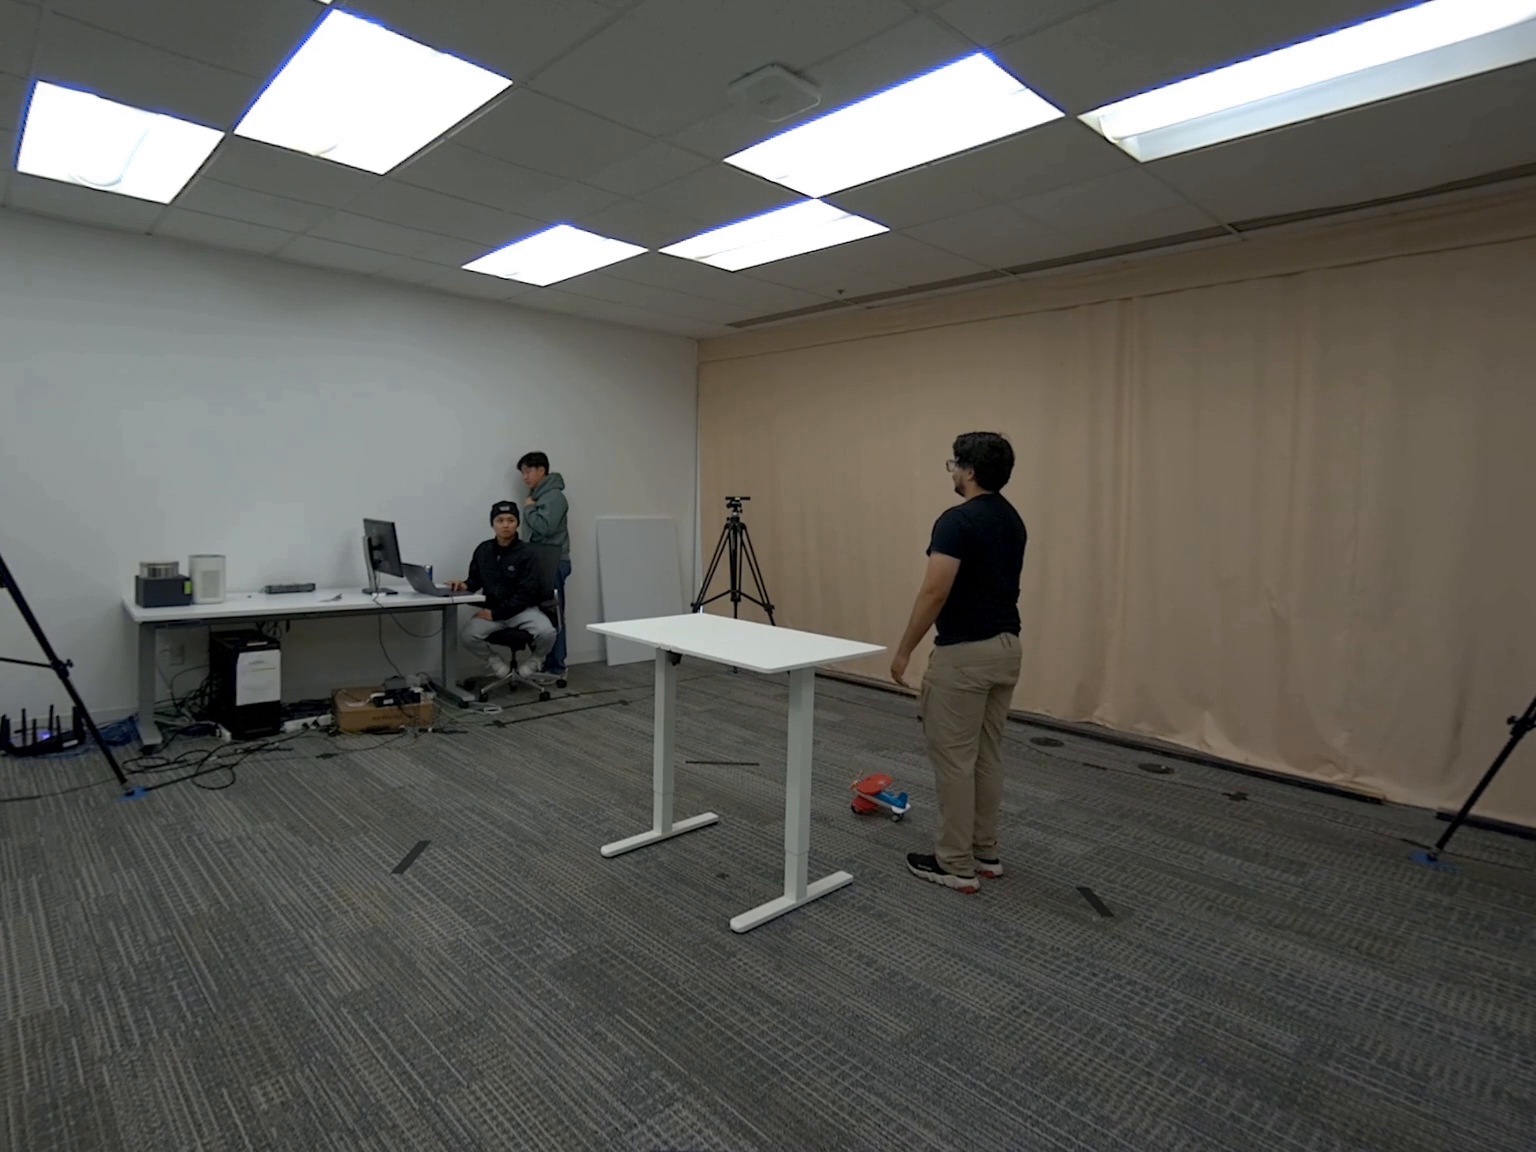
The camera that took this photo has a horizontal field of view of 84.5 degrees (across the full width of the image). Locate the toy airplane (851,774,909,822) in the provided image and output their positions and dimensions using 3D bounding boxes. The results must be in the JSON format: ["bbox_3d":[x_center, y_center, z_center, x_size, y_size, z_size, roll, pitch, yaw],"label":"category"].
[{"bbox_3d":[0.496,0.988,3.769,0.261,0.156,0.250,0,4,8],"label":"toy airplane"}]
